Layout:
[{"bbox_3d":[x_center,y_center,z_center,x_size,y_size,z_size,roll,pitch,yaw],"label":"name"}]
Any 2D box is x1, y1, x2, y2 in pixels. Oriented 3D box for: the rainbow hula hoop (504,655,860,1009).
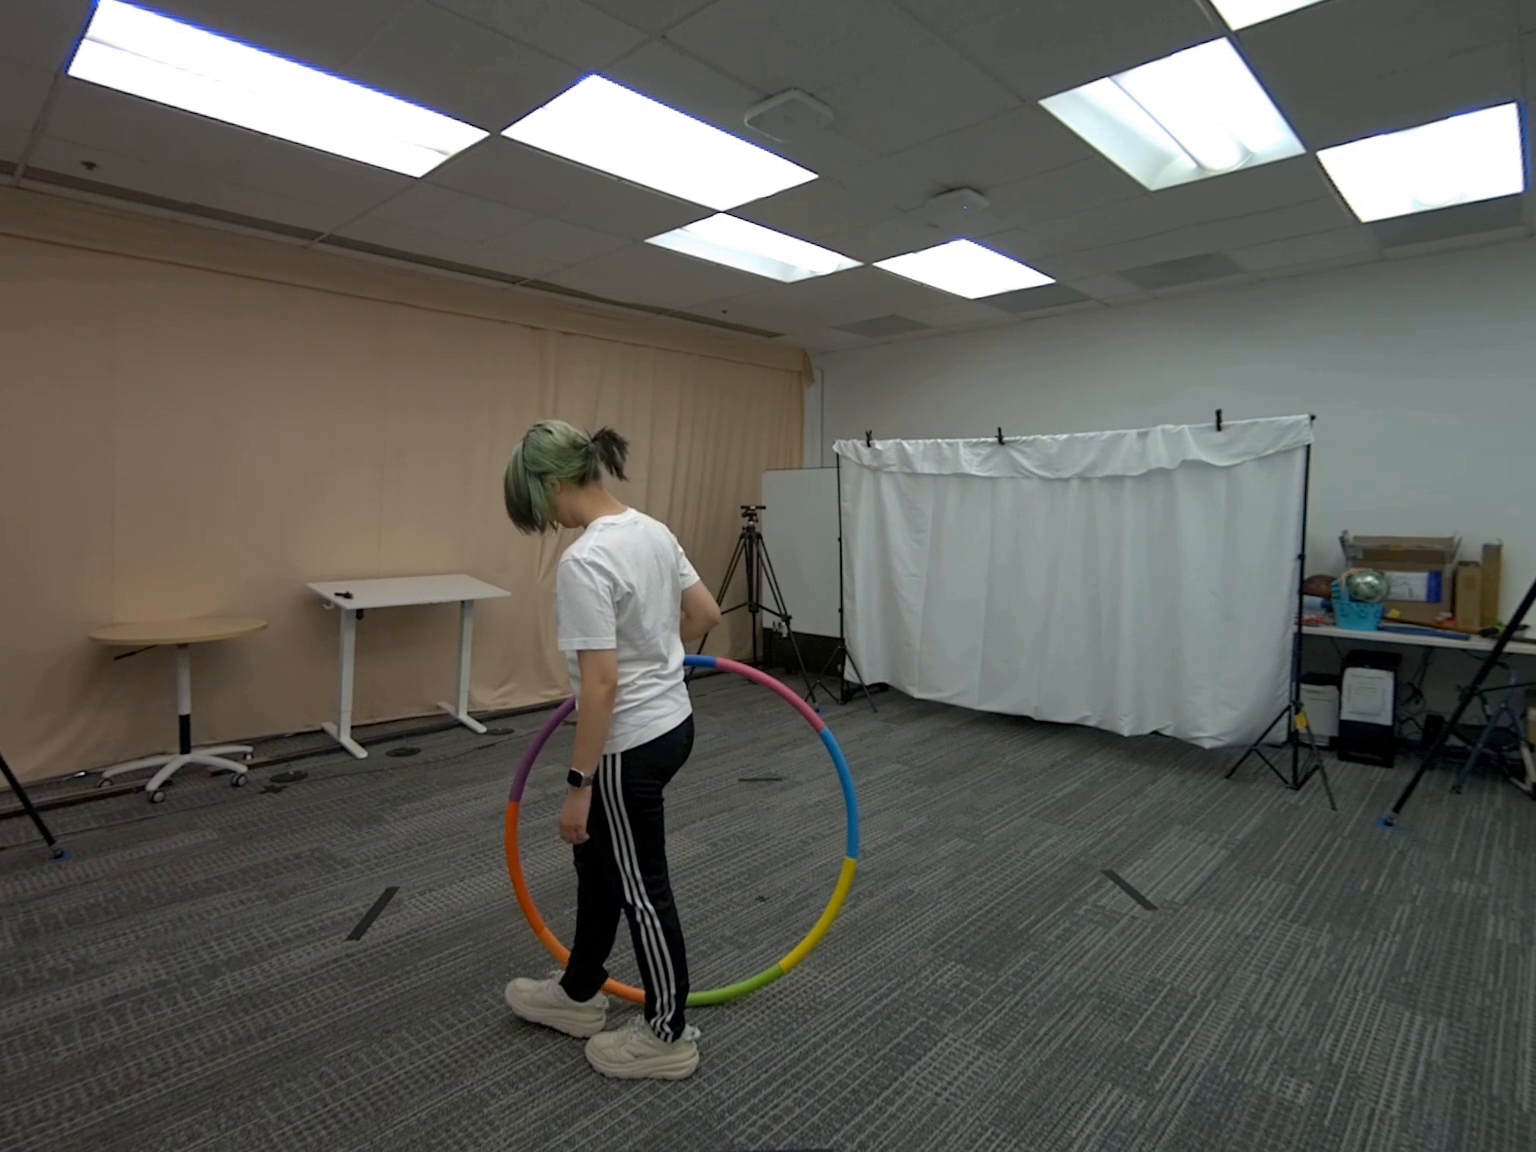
[{"bbox_3d":[-0.237,0.713,2.371,0.976,0.982,0.035,0,-5,-2],"label":"rainbow hula hoop"}]
